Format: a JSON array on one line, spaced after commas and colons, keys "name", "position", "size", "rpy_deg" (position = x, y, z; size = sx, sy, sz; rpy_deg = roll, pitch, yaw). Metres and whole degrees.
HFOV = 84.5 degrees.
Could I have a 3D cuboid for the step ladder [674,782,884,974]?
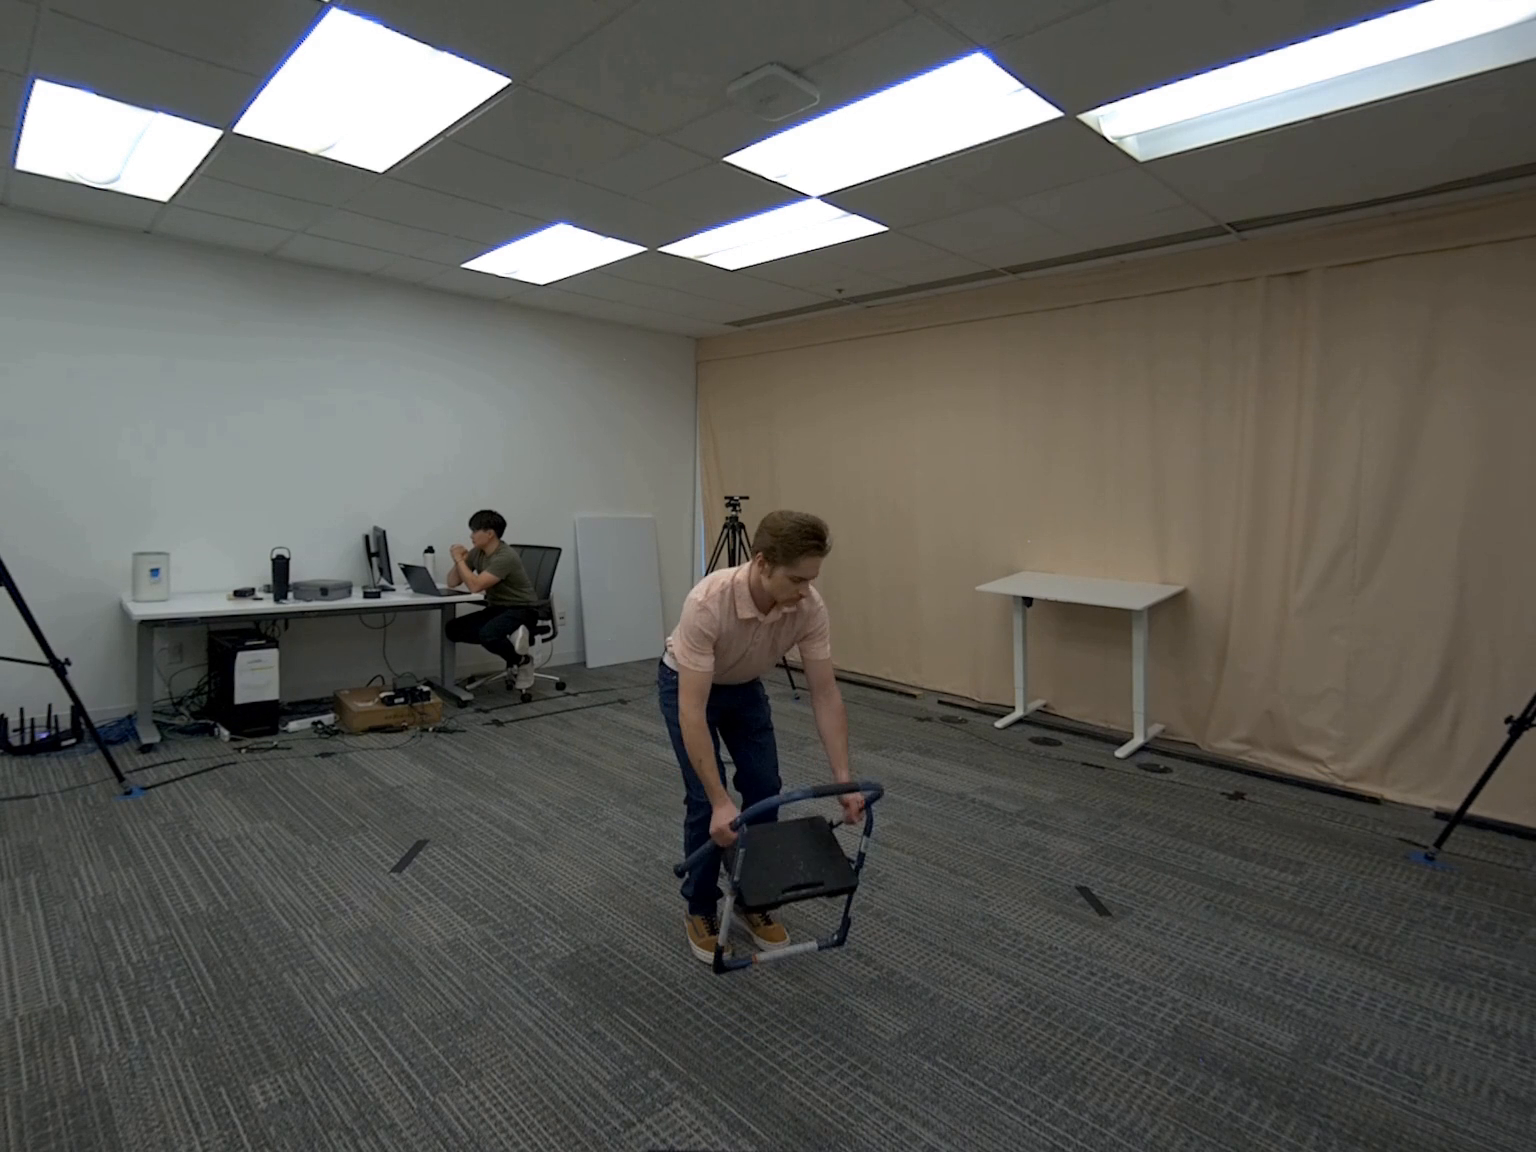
[{"name": "step ladder", "position": [0.058, 0.727, 2.309], "size": [0.422, 0.598, 0.360], "rpy_deg": [-1, 34, -28]}]
